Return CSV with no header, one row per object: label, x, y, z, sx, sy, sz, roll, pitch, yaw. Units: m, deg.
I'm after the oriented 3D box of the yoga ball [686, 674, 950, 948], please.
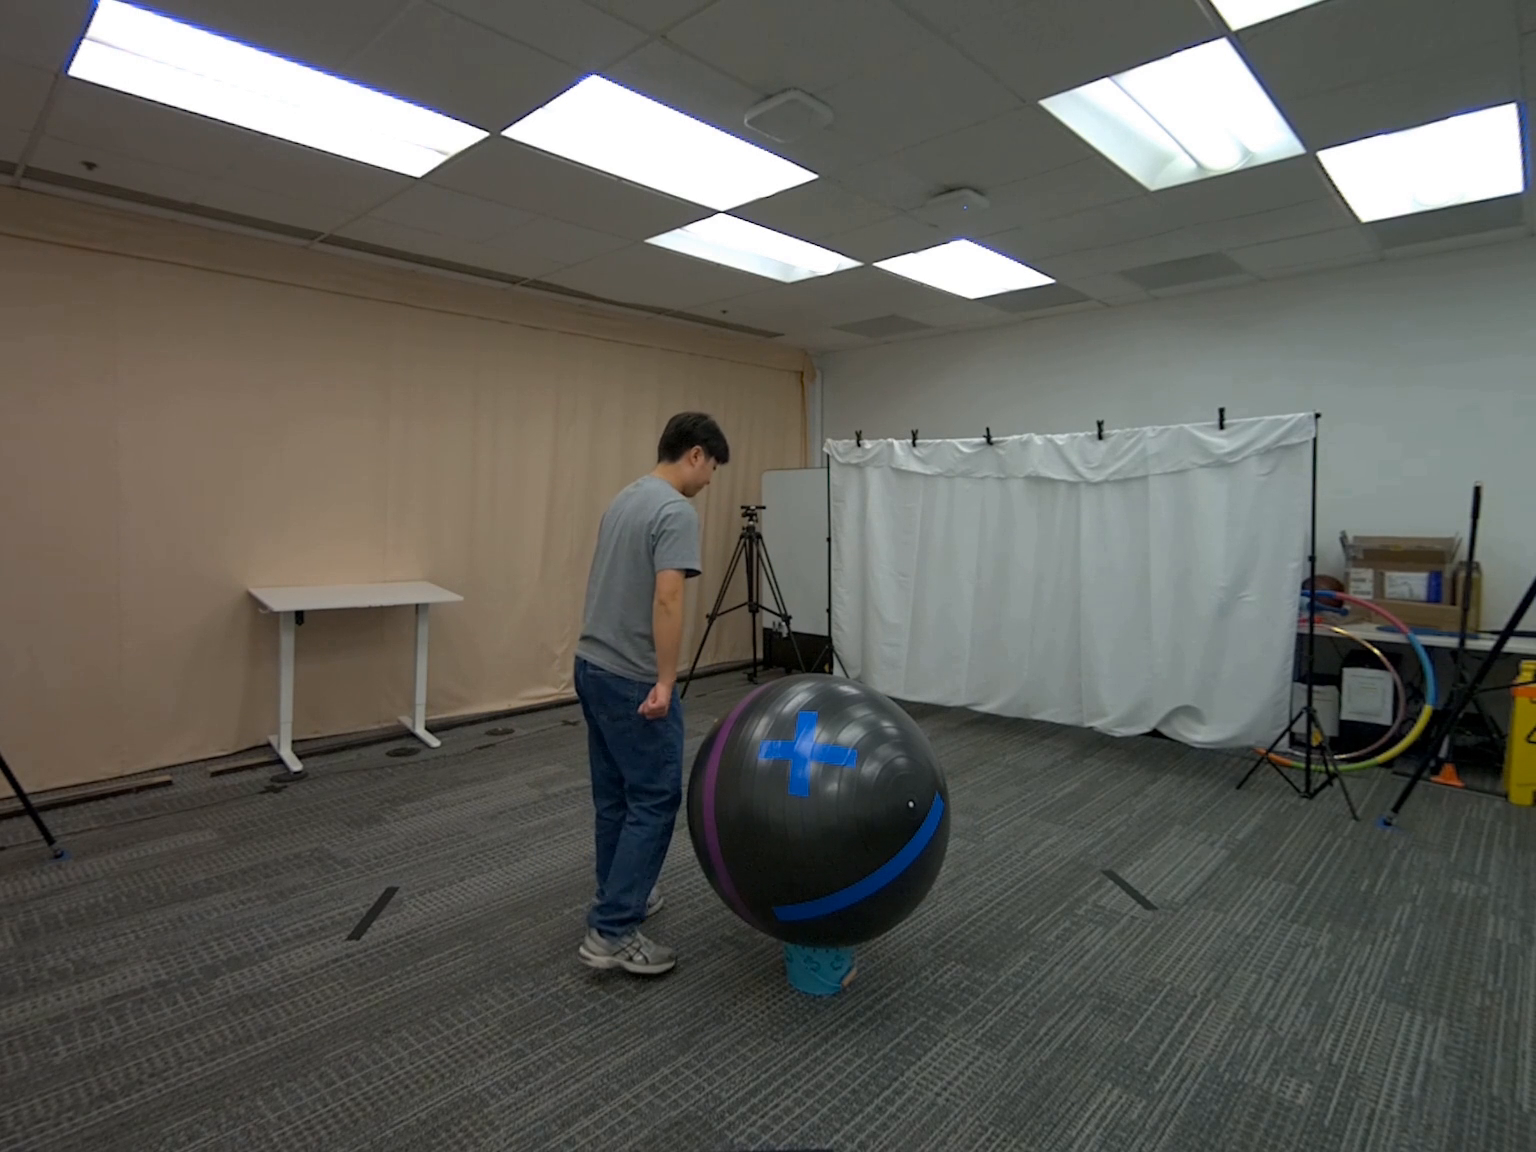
yoga ball,0.144,0.680,2.459,0.757,0.756,0.760,0,4,-2
